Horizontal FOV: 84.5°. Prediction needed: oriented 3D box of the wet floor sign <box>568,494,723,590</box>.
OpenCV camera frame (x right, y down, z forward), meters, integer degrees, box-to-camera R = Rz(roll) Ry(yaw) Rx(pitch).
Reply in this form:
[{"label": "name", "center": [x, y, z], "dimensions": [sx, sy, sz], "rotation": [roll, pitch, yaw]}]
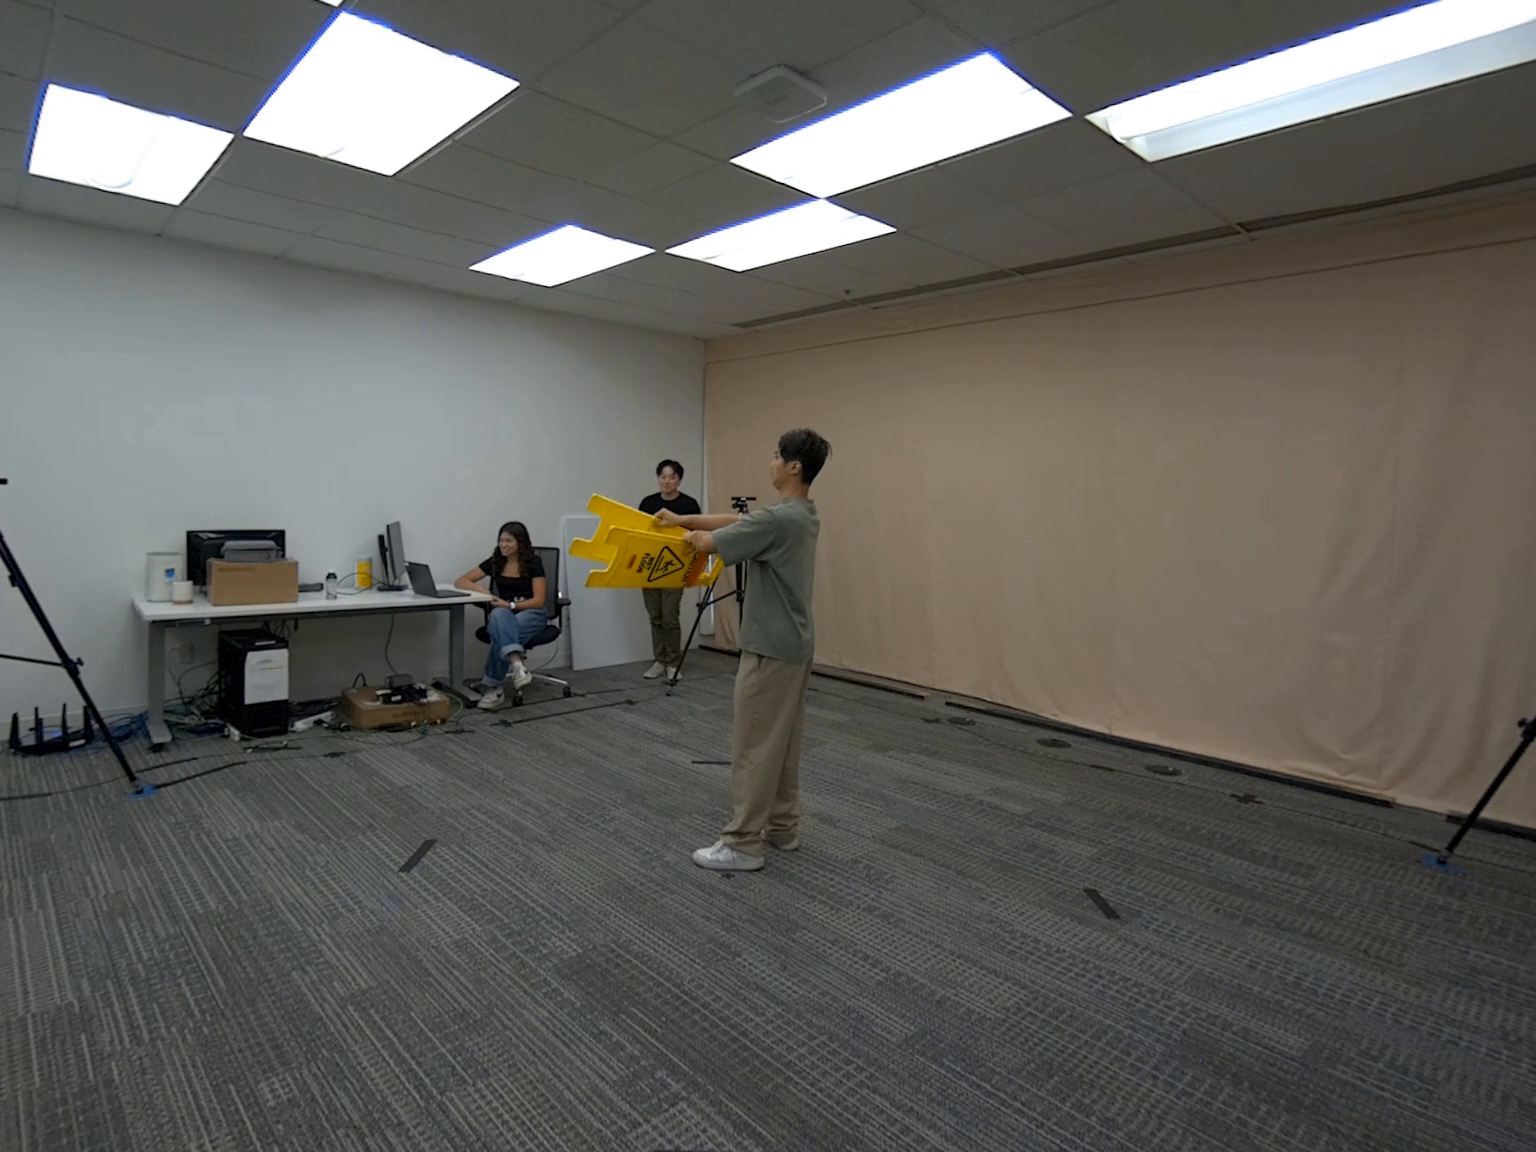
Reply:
[{"label": "wet floor sign", "center": [-0.459, -0.091, 3.496], "dimensions": [0.629, 0.280, 0.299], "rotation": [12, 24, -36]}]
